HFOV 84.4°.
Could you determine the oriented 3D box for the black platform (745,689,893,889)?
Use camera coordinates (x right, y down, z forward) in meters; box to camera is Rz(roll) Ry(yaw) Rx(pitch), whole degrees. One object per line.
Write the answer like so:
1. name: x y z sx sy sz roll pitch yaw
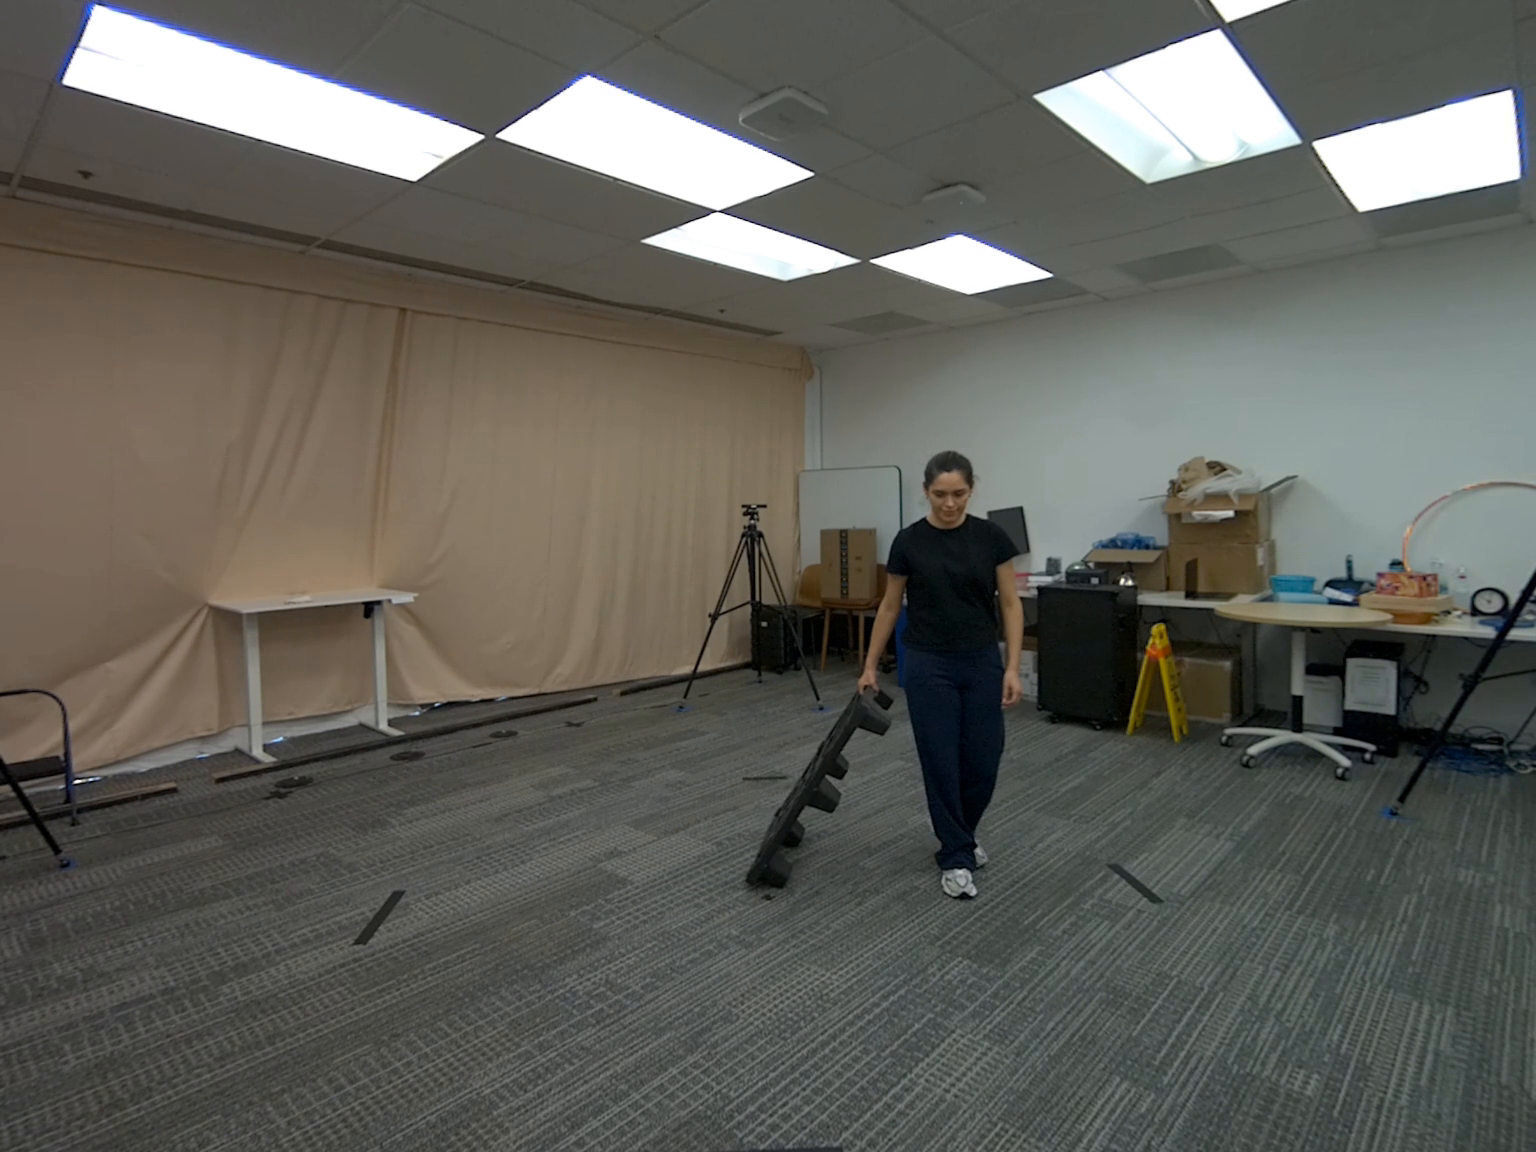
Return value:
1. black platform: 0.236 0.765 3.226 0.145 0.805 0.599 32 10 6
